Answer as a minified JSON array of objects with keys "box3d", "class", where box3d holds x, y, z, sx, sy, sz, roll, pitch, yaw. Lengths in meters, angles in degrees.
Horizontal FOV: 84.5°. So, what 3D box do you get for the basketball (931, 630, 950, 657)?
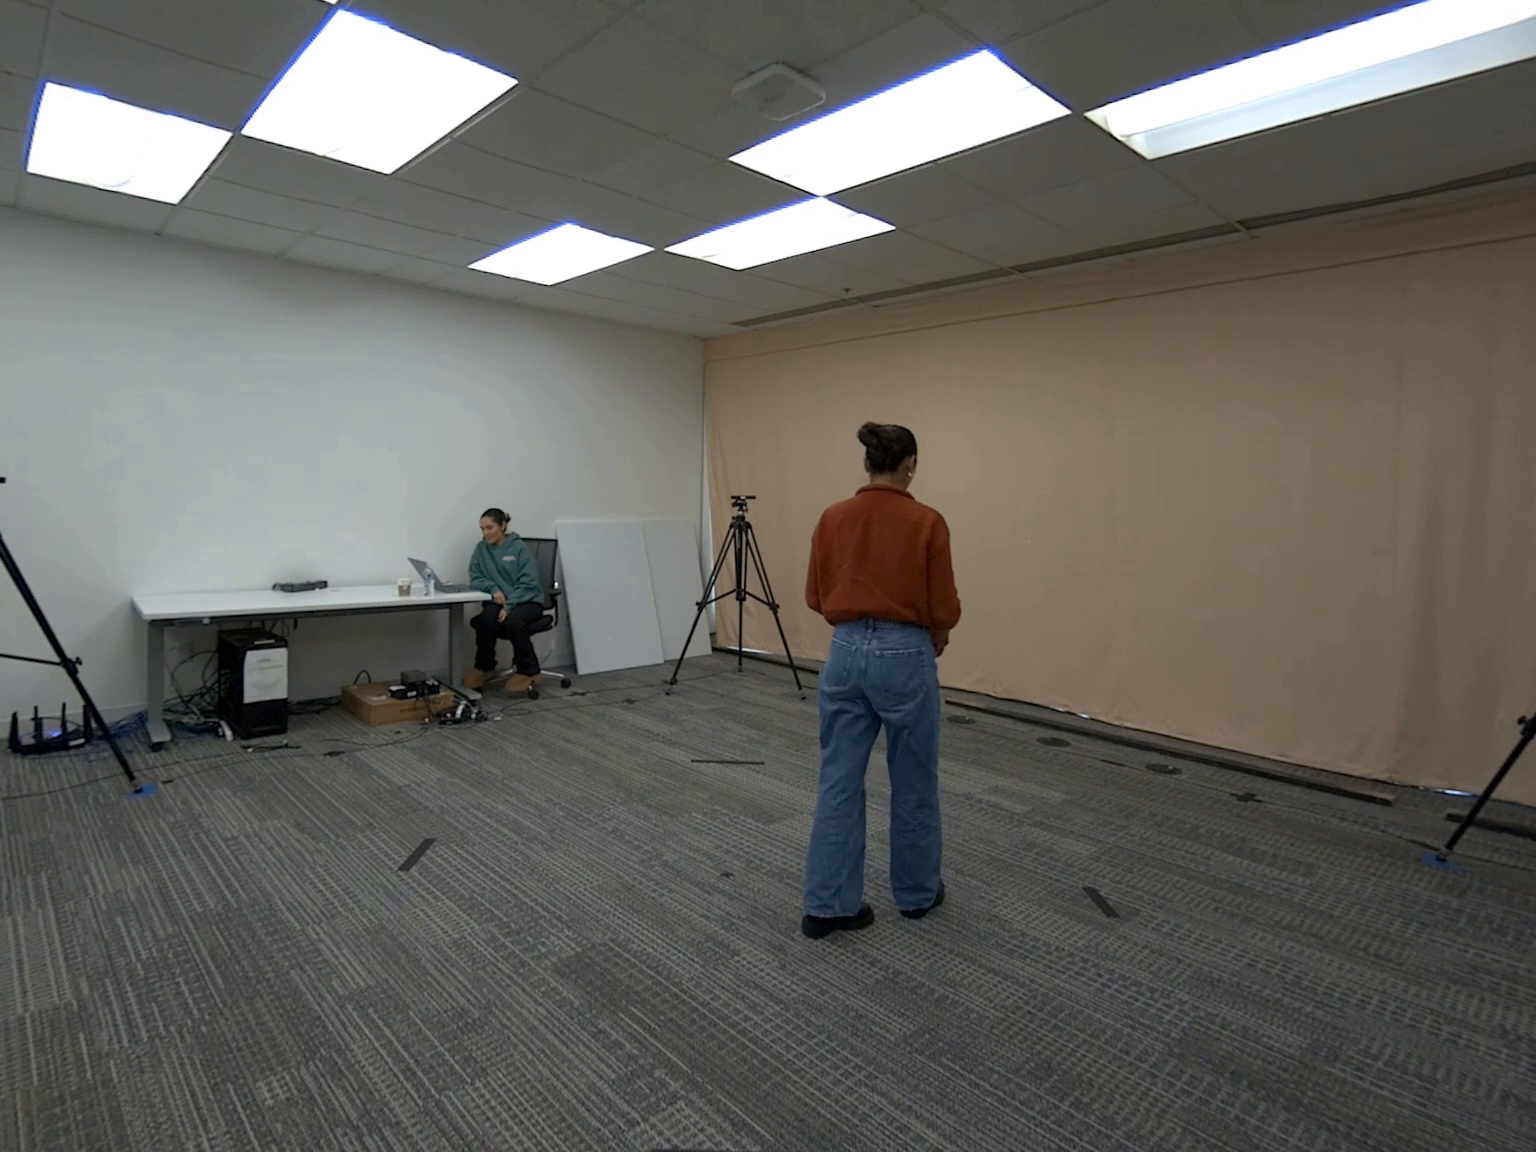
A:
[{"box3d":[0.502,0.203,2.992,0.236,0.235,0.237,1,4,-1],"class":"basketball"}]
